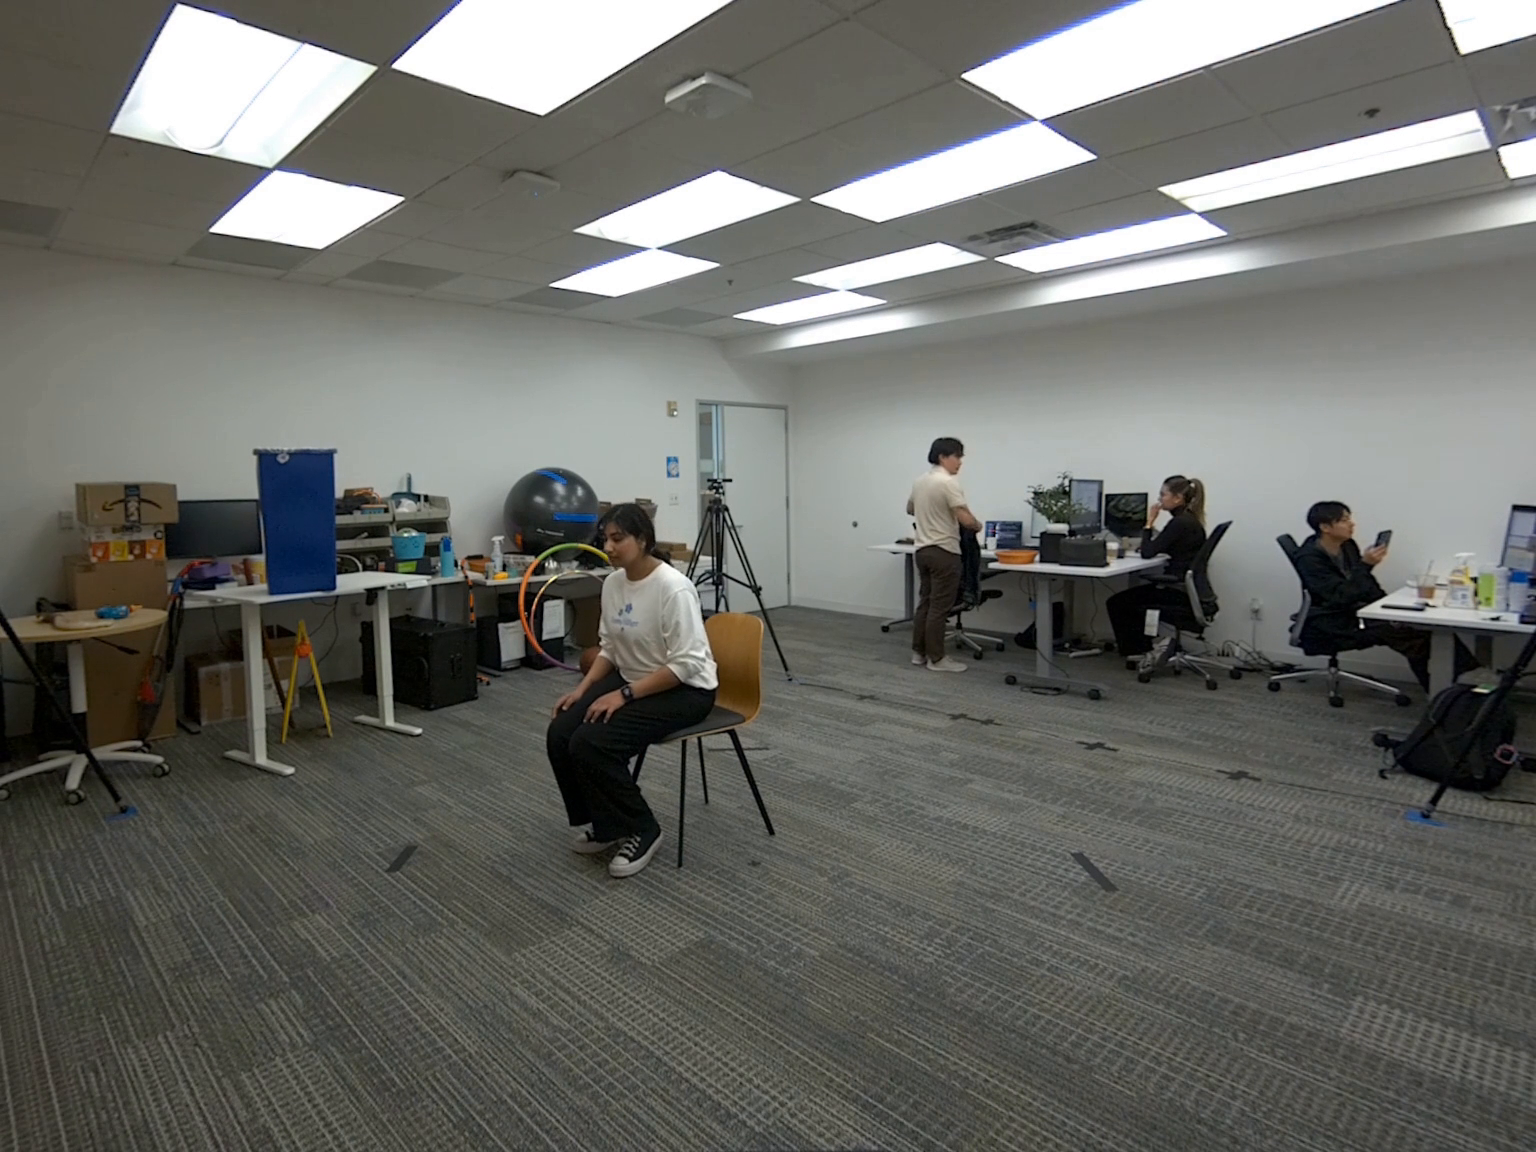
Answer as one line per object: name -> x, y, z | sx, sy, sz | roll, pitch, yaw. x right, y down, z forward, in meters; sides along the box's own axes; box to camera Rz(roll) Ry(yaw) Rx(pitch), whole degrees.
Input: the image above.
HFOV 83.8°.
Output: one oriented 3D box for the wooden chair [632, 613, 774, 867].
wooden chair -> -0.301, 0.592, 3.356 | 0.508, 0.876, 0.492 | 0, 2, -39
